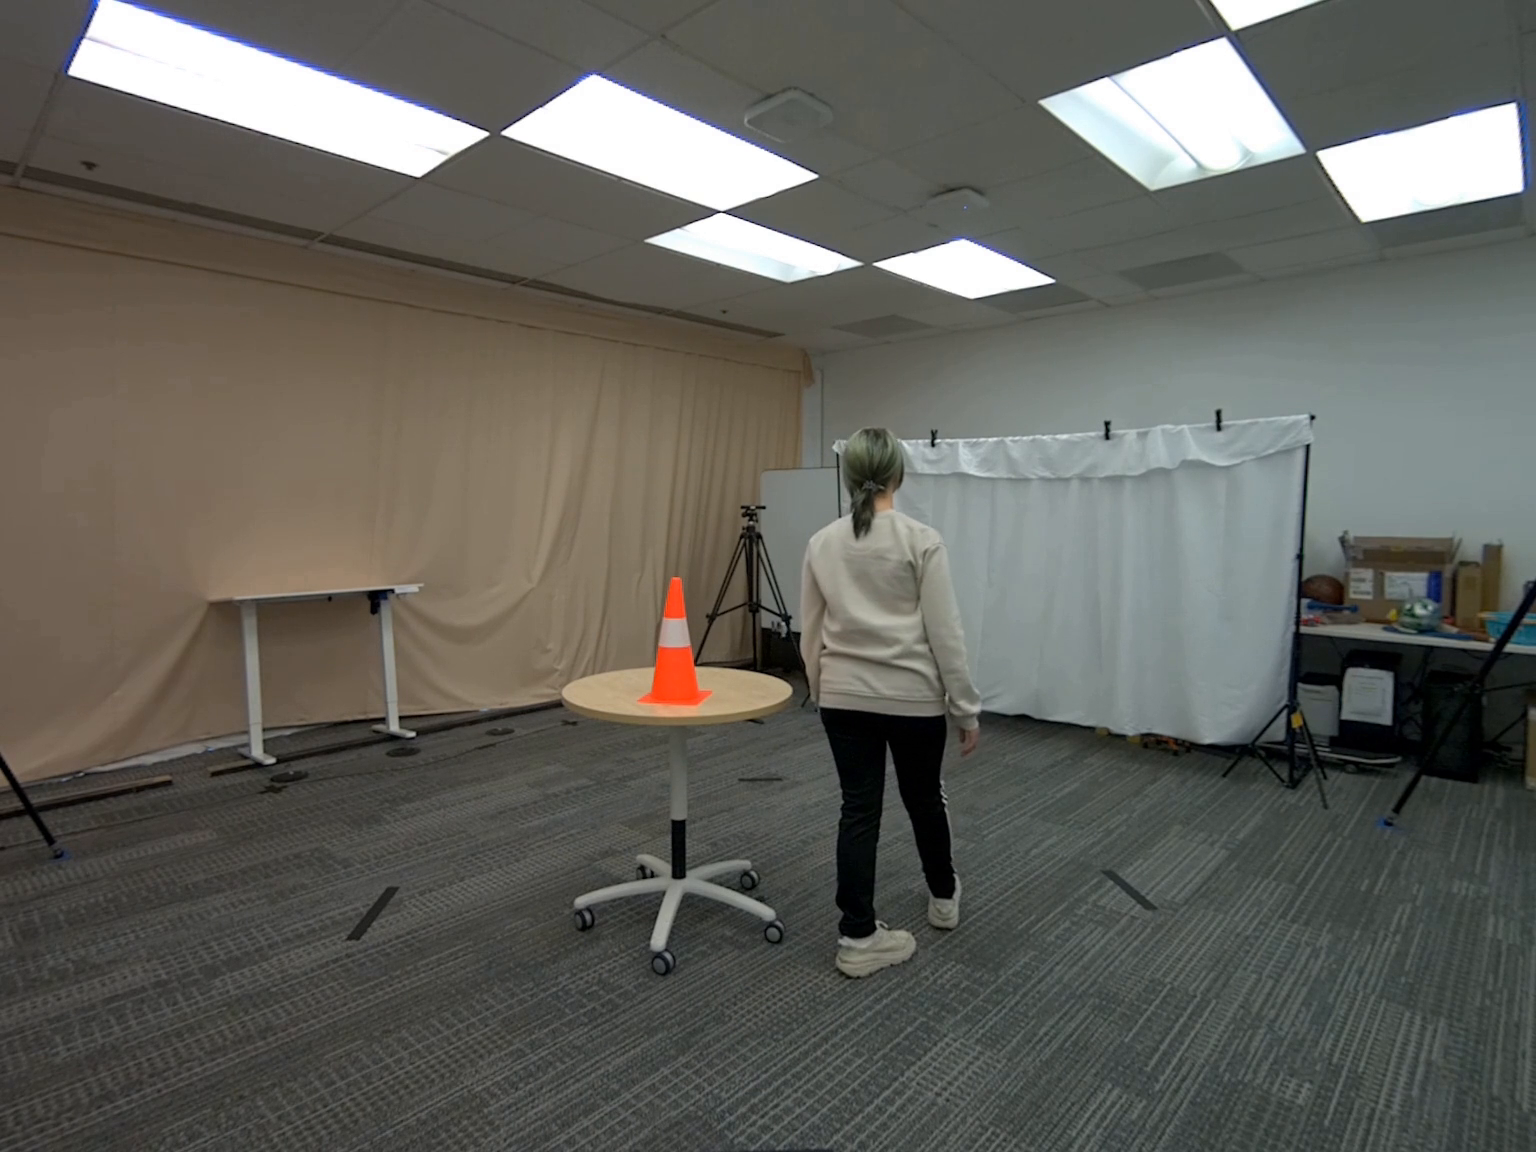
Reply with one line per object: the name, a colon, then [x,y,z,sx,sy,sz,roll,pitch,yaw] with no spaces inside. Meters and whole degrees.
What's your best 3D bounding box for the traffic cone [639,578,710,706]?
traffic cone: [-0.290,0.203,2.673,0.208,0.383,0.200,0,2,15]
